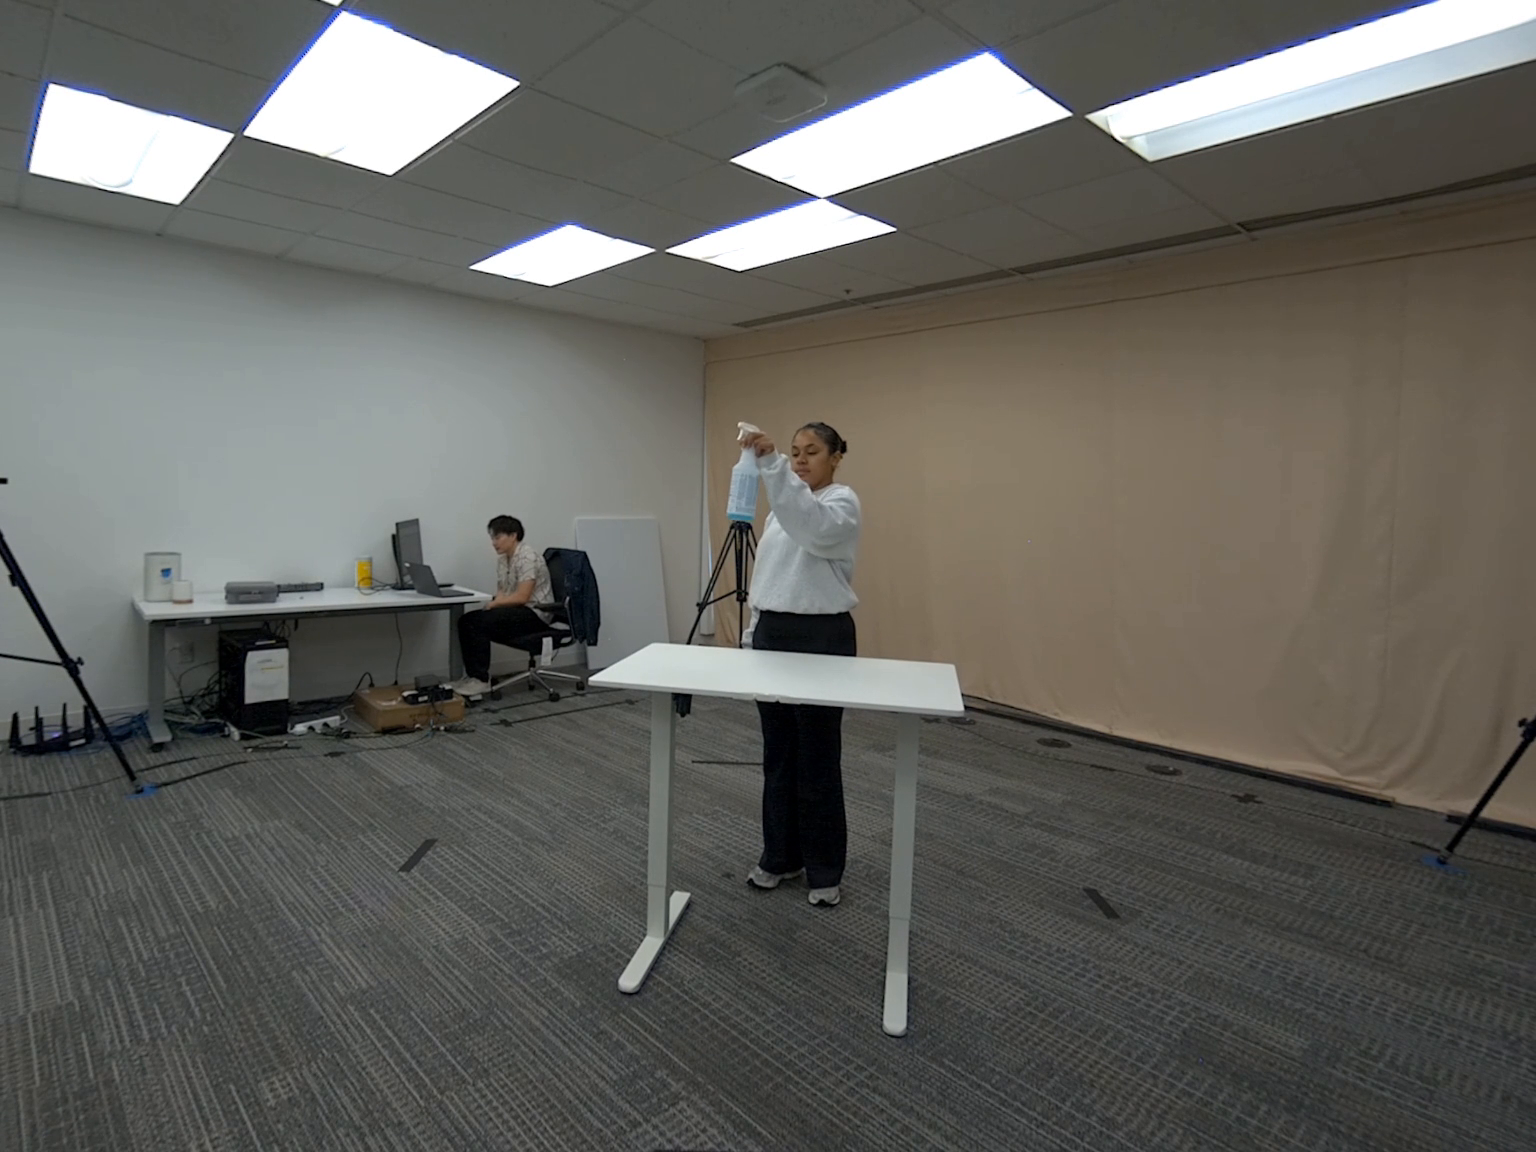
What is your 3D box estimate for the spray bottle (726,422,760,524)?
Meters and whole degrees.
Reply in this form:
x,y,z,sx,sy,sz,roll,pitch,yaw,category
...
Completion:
x,y,z,sx,sy,sz,roll,pitch,yaw,category
-0.065,-0.305,2.588,0.089,0.298,0.088,4,-2,-12,spray bottle
